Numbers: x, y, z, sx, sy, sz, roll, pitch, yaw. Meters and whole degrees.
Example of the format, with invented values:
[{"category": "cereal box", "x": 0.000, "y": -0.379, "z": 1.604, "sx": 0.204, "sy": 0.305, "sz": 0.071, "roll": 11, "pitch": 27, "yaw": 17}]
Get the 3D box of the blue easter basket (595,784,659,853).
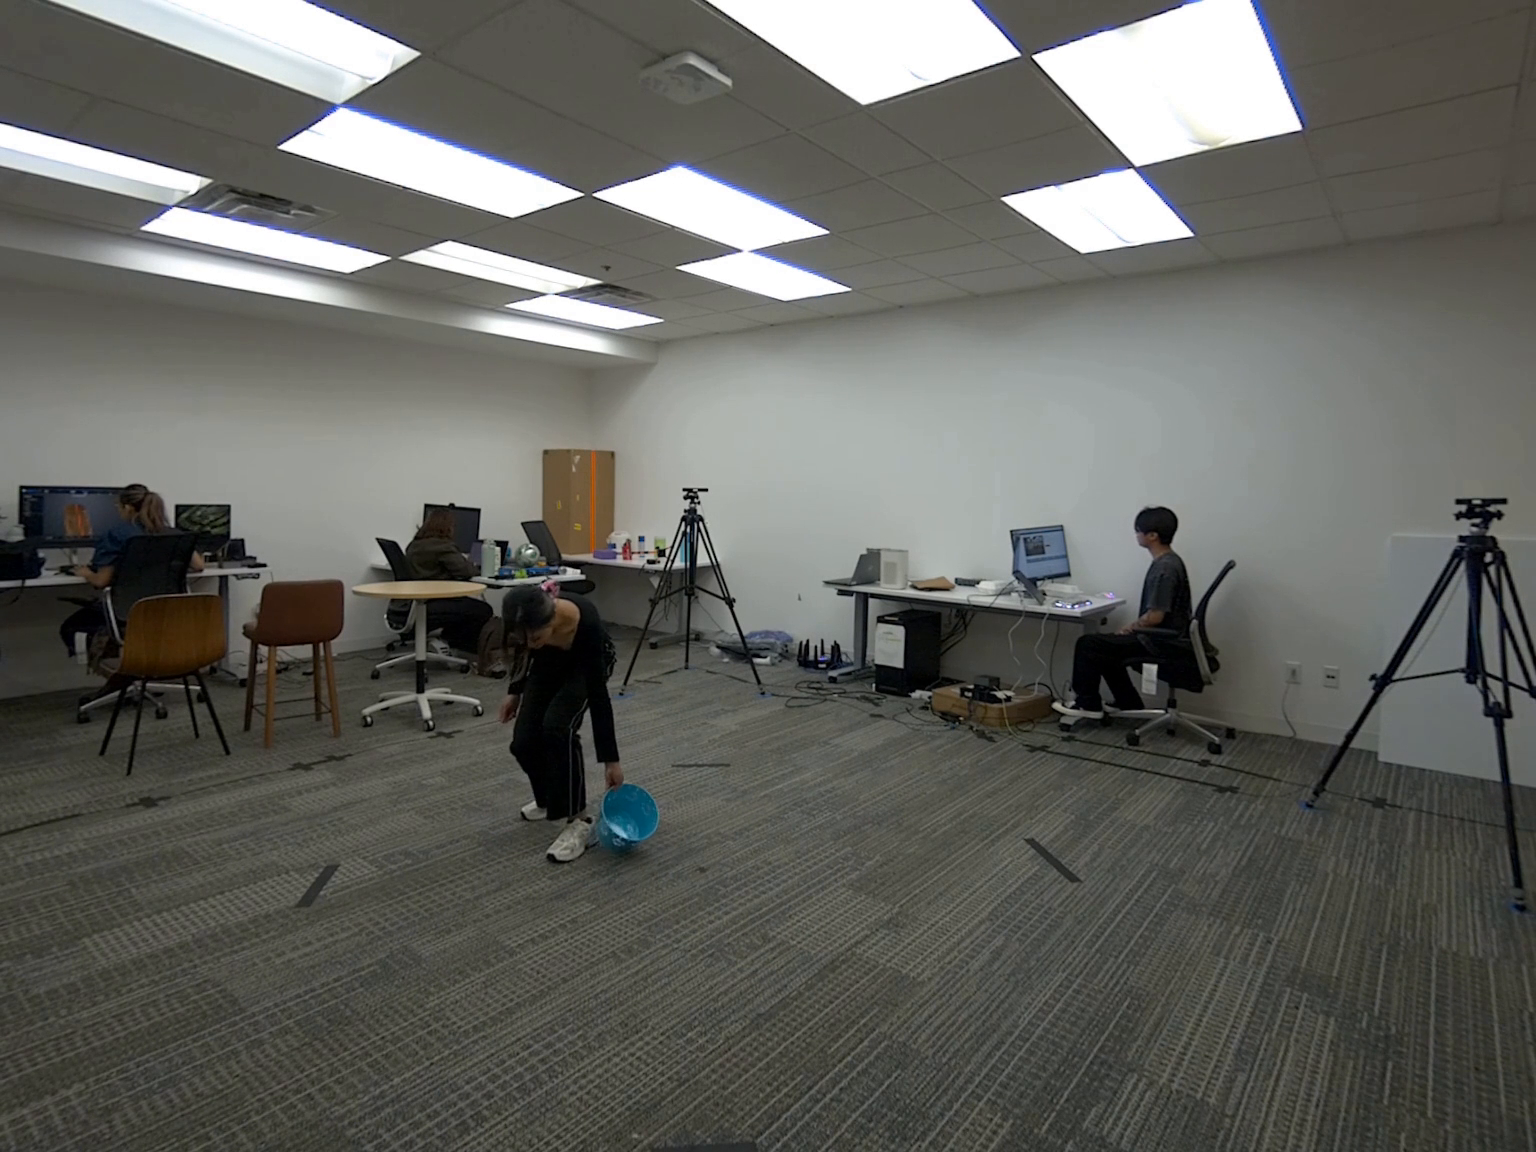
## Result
[{"category": "blue easter basket", "x": -0.561, "y": 0.933, "z": 3.235, "sx": 0.236, "sy": 0.252, "sz": 0.155, "roll": -2, "pitch": -40, "yaw": -36}]
